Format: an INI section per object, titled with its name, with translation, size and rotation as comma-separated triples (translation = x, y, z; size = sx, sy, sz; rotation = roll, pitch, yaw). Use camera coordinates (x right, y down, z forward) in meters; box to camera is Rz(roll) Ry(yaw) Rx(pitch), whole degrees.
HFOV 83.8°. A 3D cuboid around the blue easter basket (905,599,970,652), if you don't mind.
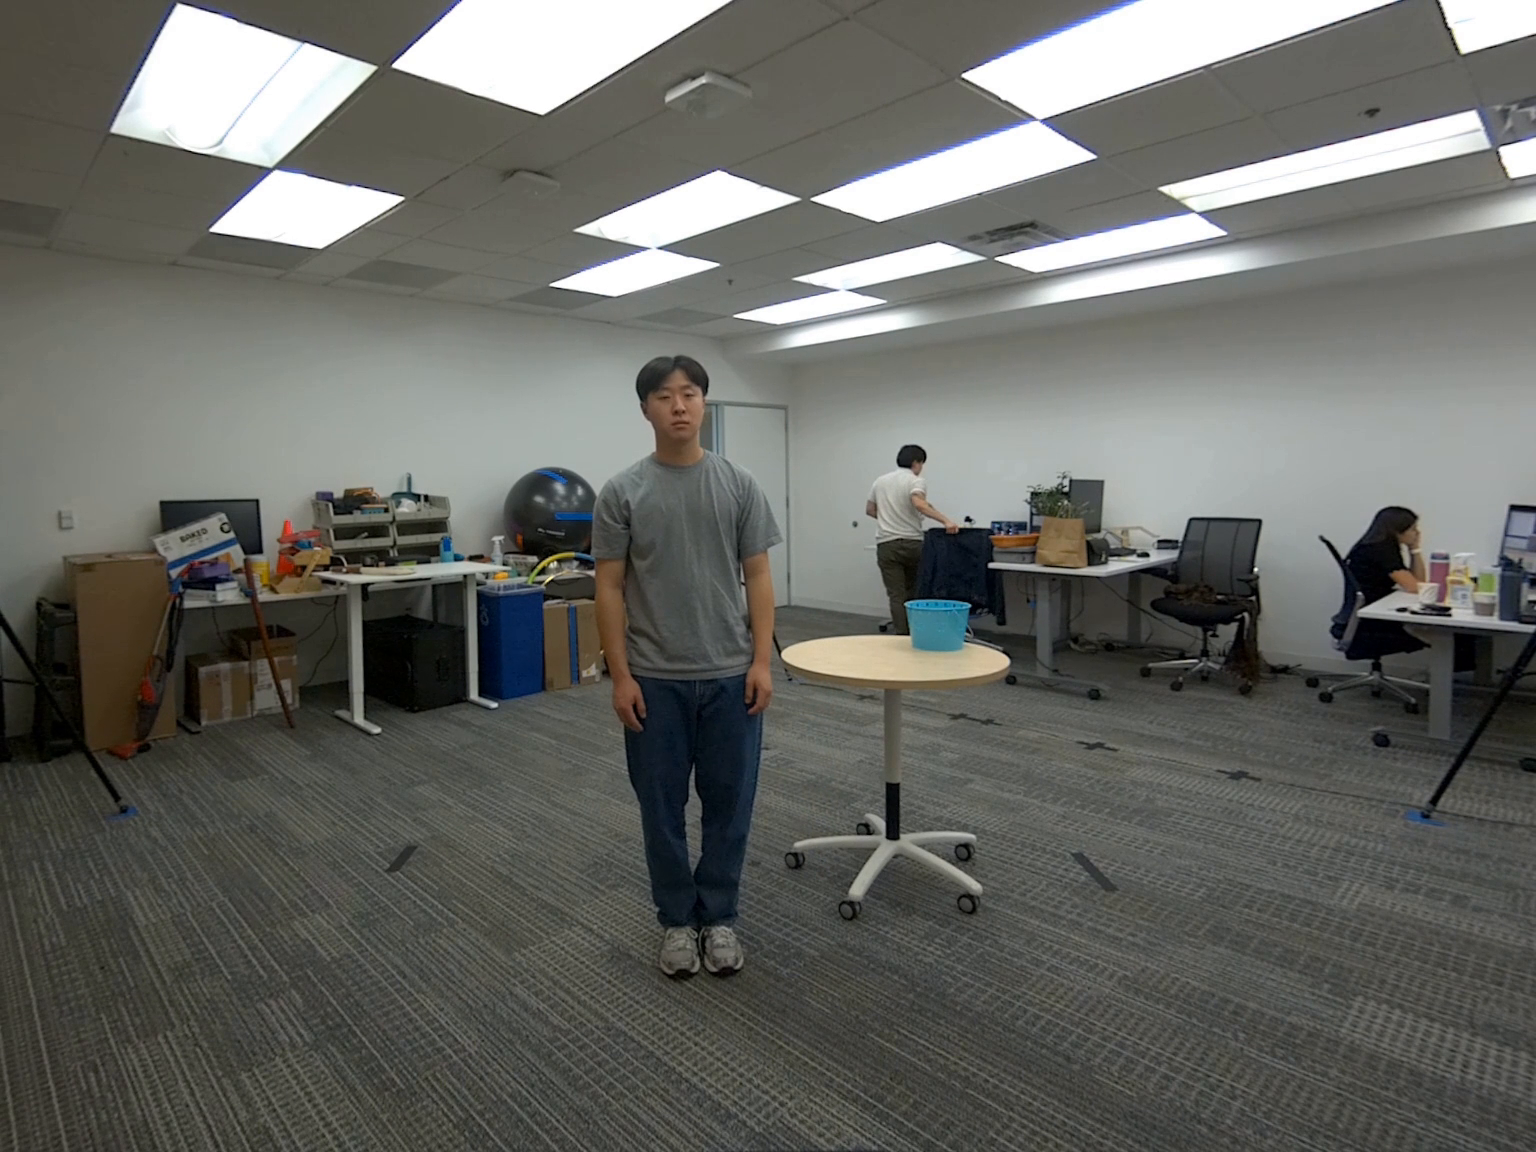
[blue easter basket]
translation = 0.630, 0.184, 3.076
size = 0.243, 0.155, 0.245
rotation = 0, 4, -2
